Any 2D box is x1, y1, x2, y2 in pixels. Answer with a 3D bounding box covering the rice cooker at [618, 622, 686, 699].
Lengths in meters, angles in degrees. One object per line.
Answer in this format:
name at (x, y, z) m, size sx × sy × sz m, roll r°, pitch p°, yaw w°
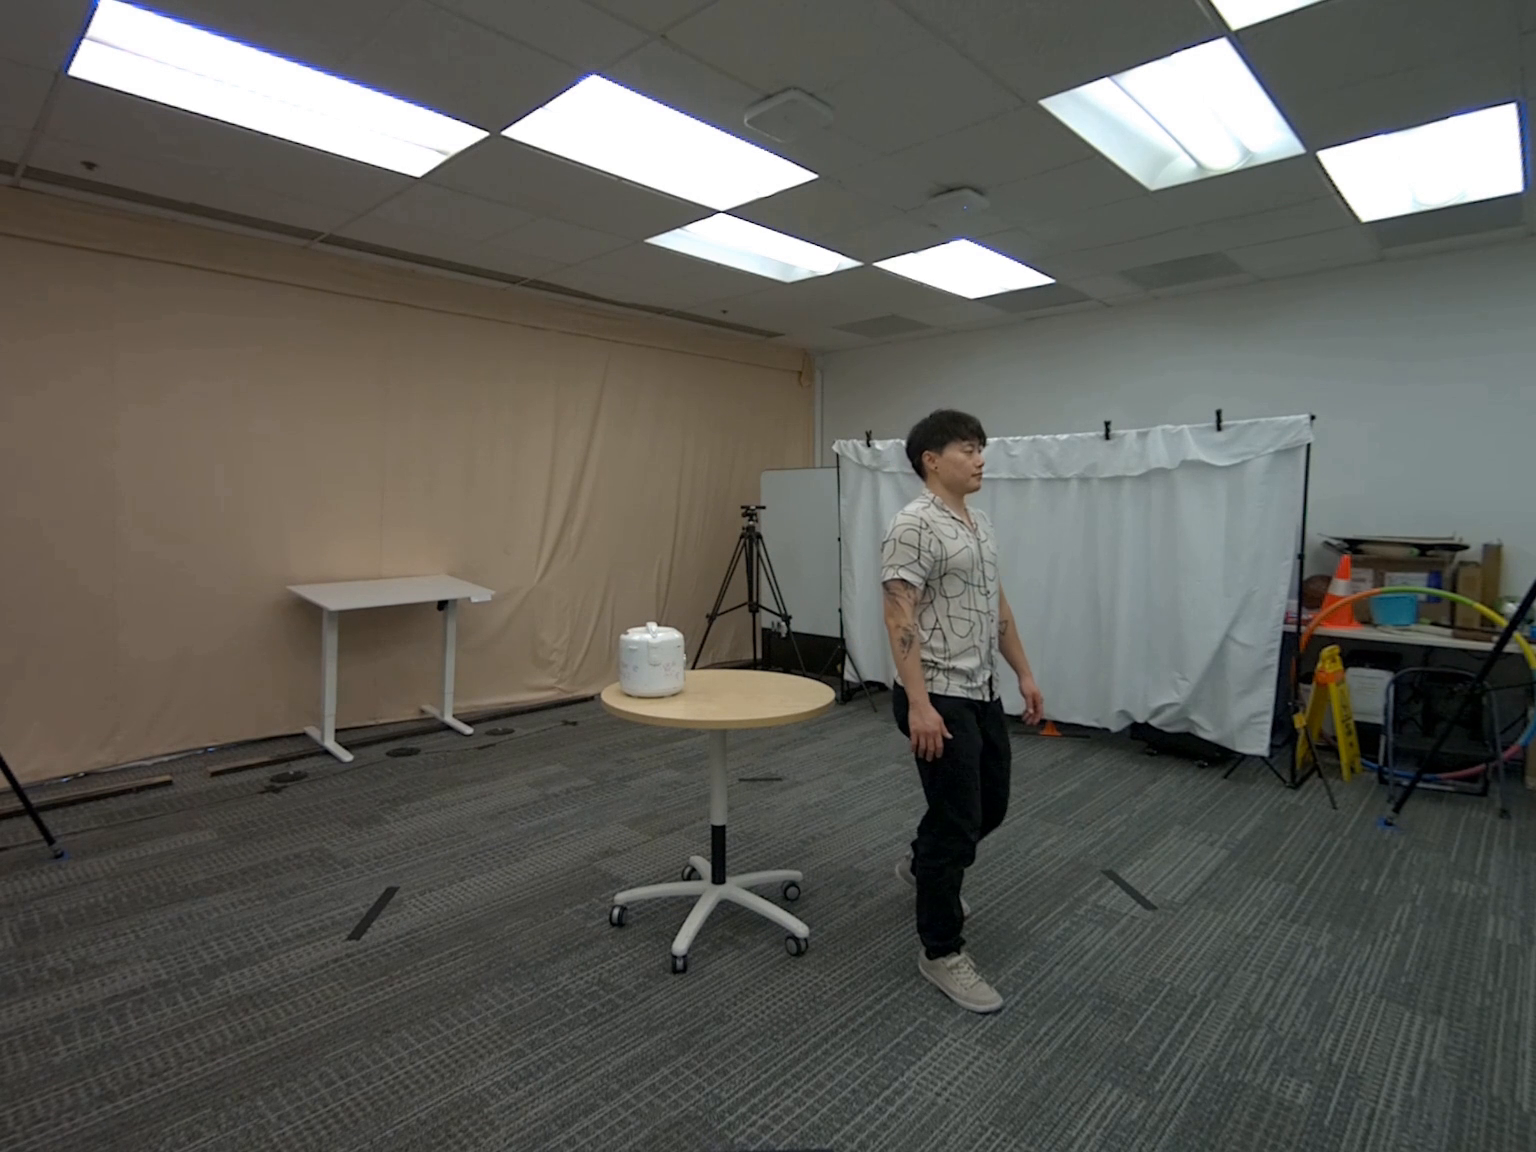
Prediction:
rice cooker at (-0.377, 0.268, 2.753) m, size 0.215 × 0.232 × 0.223 m, roll -2°, pitch 4°, yaw -10°
